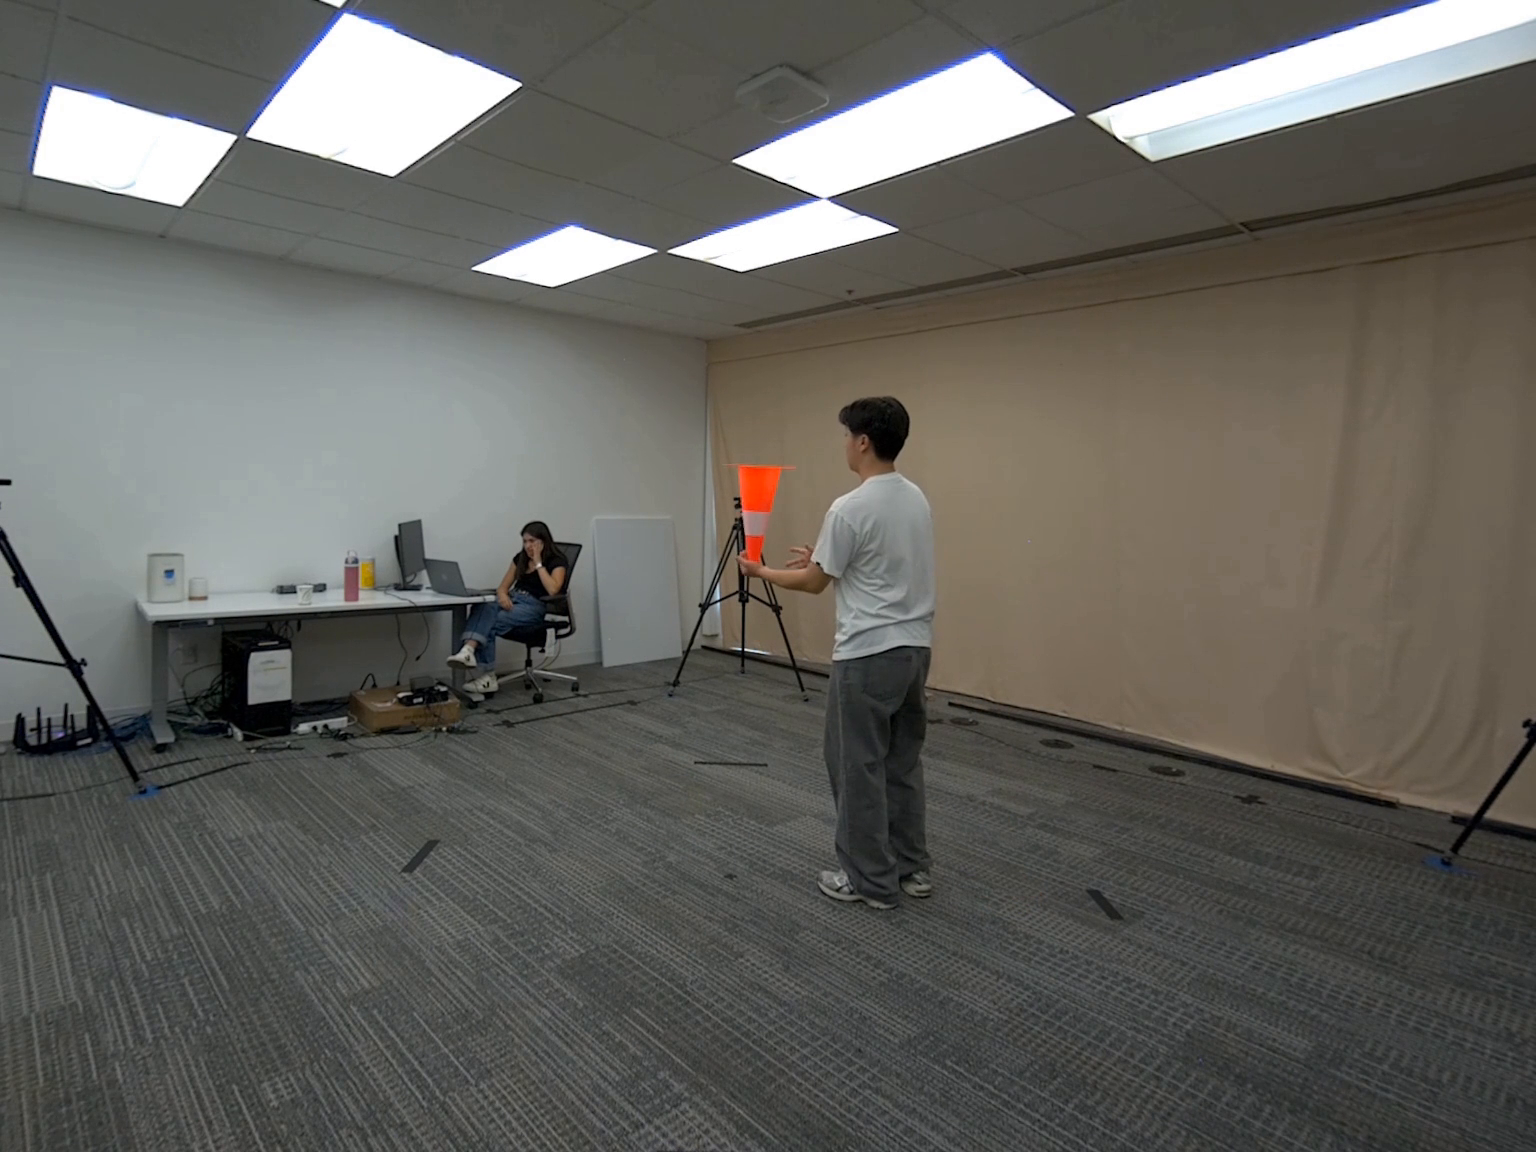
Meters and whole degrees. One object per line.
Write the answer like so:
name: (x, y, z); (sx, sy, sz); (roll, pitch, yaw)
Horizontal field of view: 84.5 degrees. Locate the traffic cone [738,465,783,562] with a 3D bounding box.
traffic cone: (-0.043, -0.213, 3.109); (0.199, 0.383, 0.210); (0, 4, -31)
